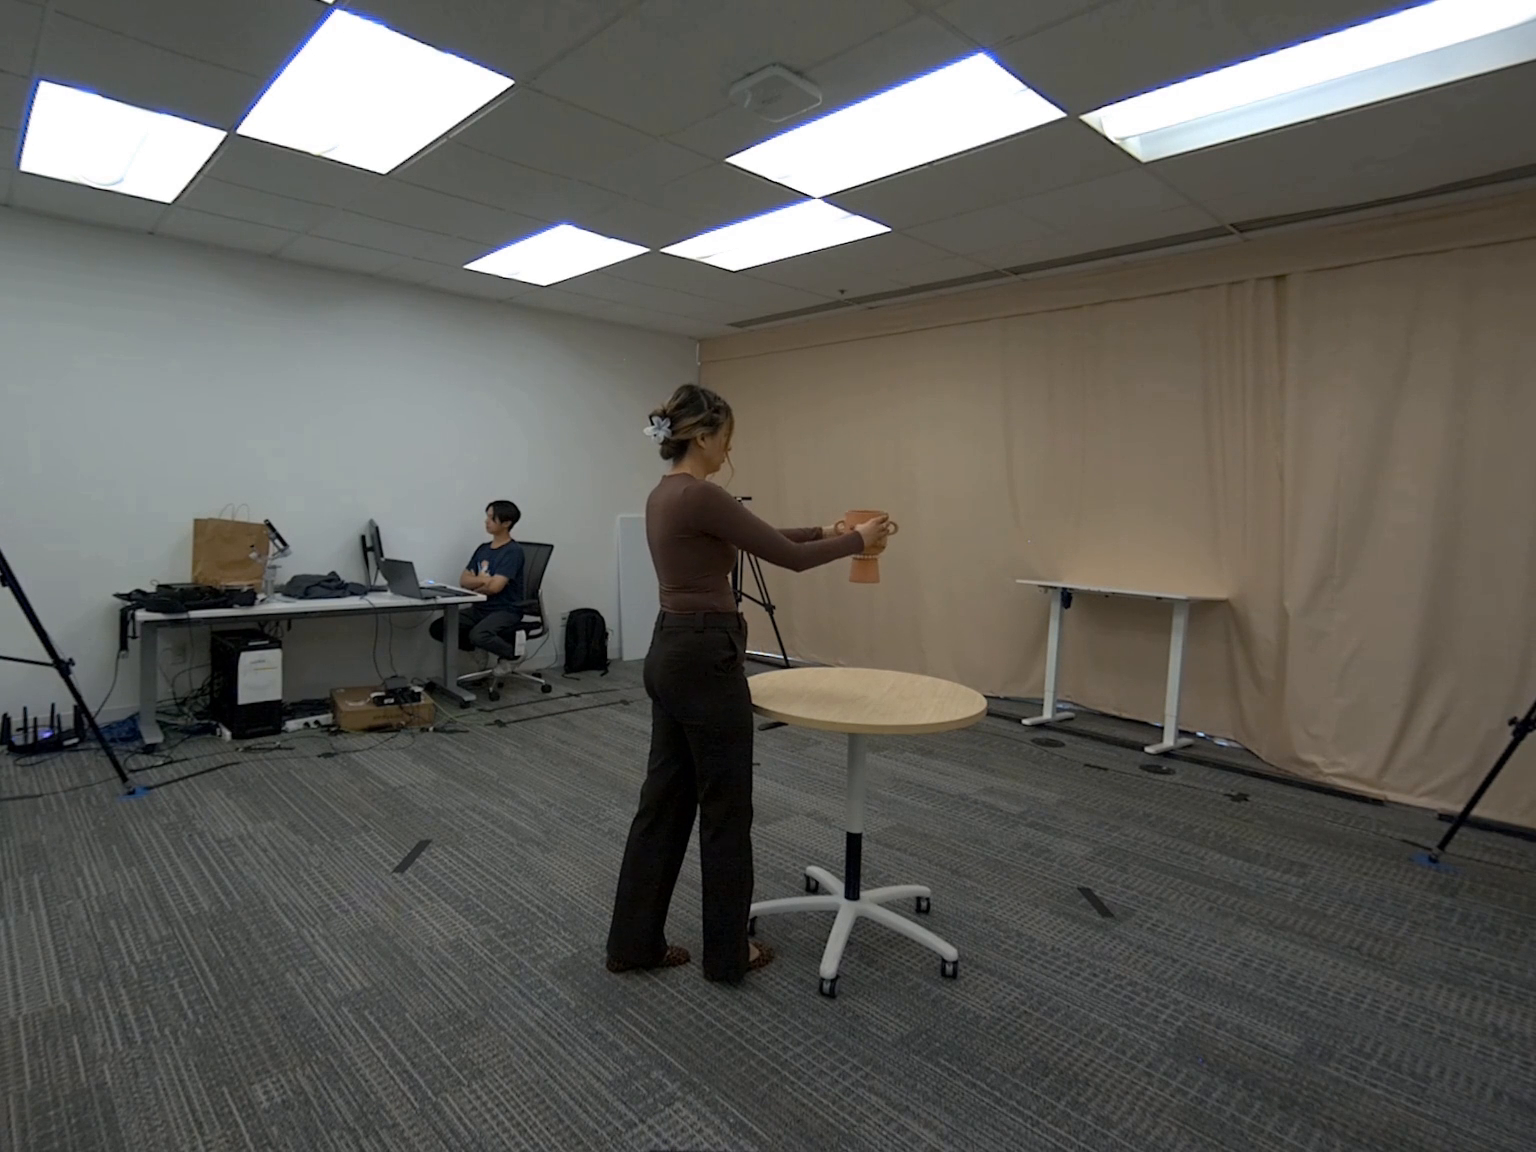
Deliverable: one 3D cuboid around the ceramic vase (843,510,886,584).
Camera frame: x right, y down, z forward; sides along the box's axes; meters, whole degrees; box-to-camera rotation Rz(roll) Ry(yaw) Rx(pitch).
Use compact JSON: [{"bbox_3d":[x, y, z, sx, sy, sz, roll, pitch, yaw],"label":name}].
[{"bbox_3d":[0.299,-0.090,2.618,0.163,0.219,0.132,8,9,38],"label":"ceramic vase"}]
